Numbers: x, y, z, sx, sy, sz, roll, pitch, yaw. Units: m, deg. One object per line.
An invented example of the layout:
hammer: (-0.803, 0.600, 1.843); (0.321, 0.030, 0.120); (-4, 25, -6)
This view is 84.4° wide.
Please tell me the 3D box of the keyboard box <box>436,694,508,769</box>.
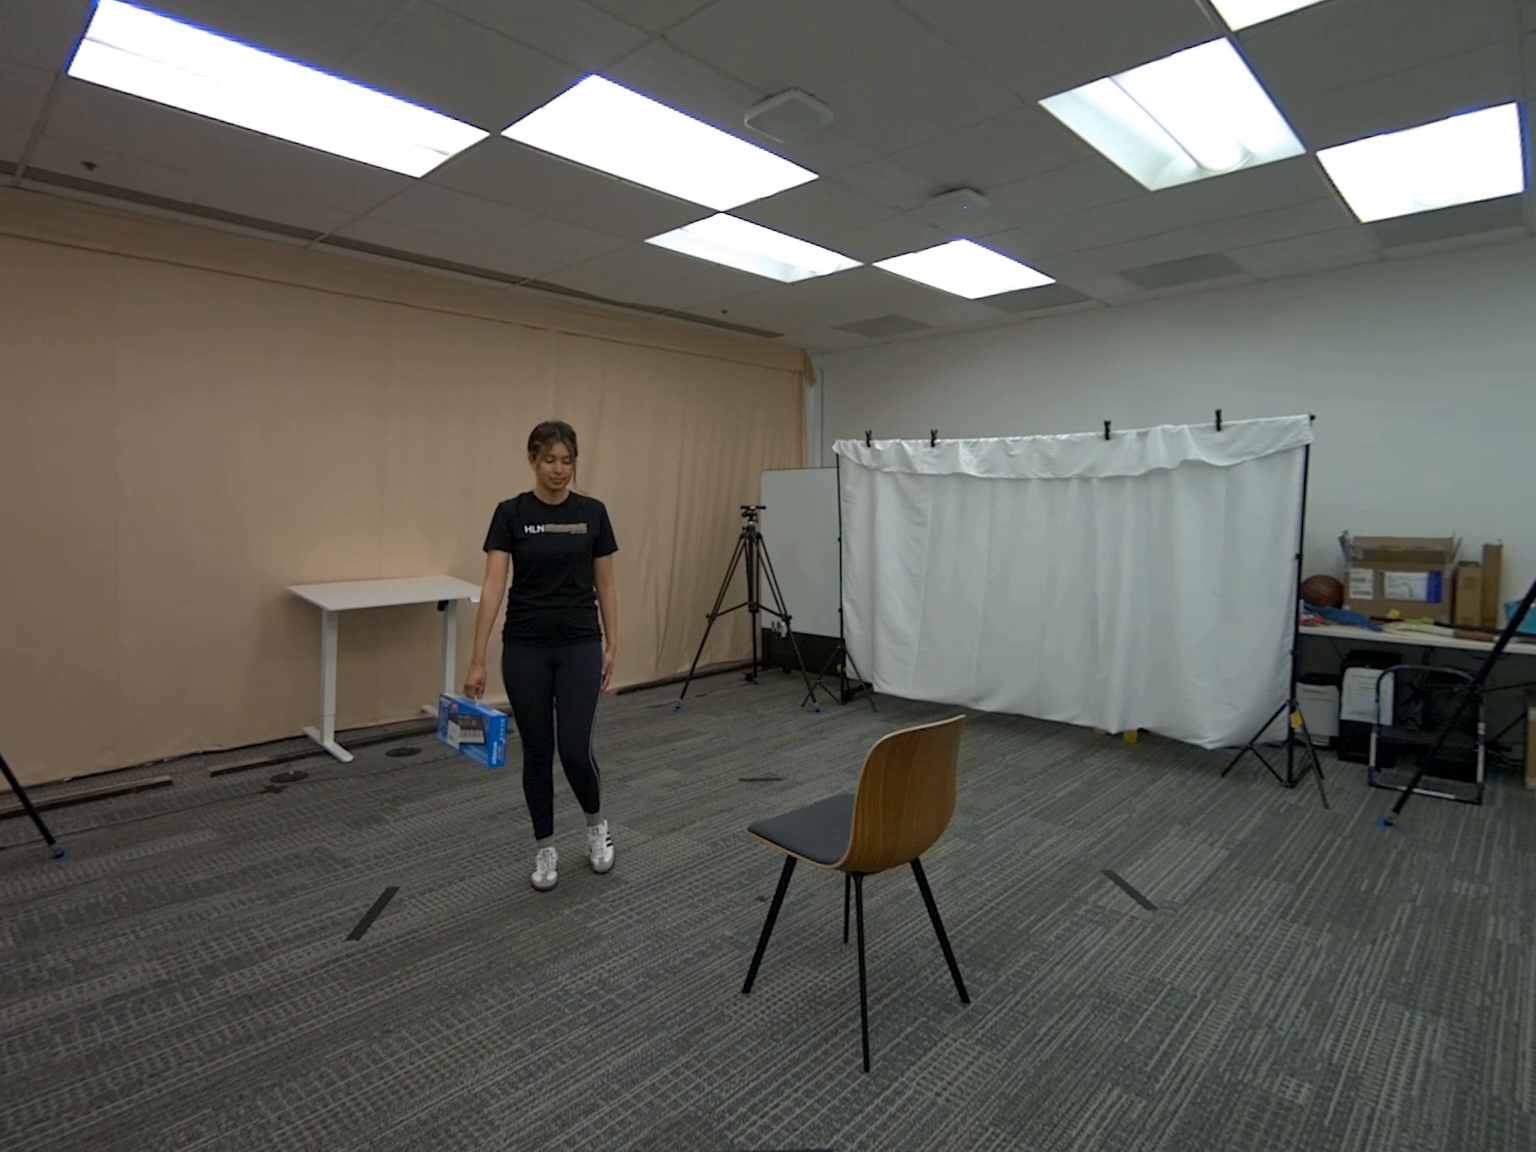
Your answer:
keyboard box: (-1.025, 0.529, 2.941); (0.057, 0.176, 0.451); (5, 1, -42)
